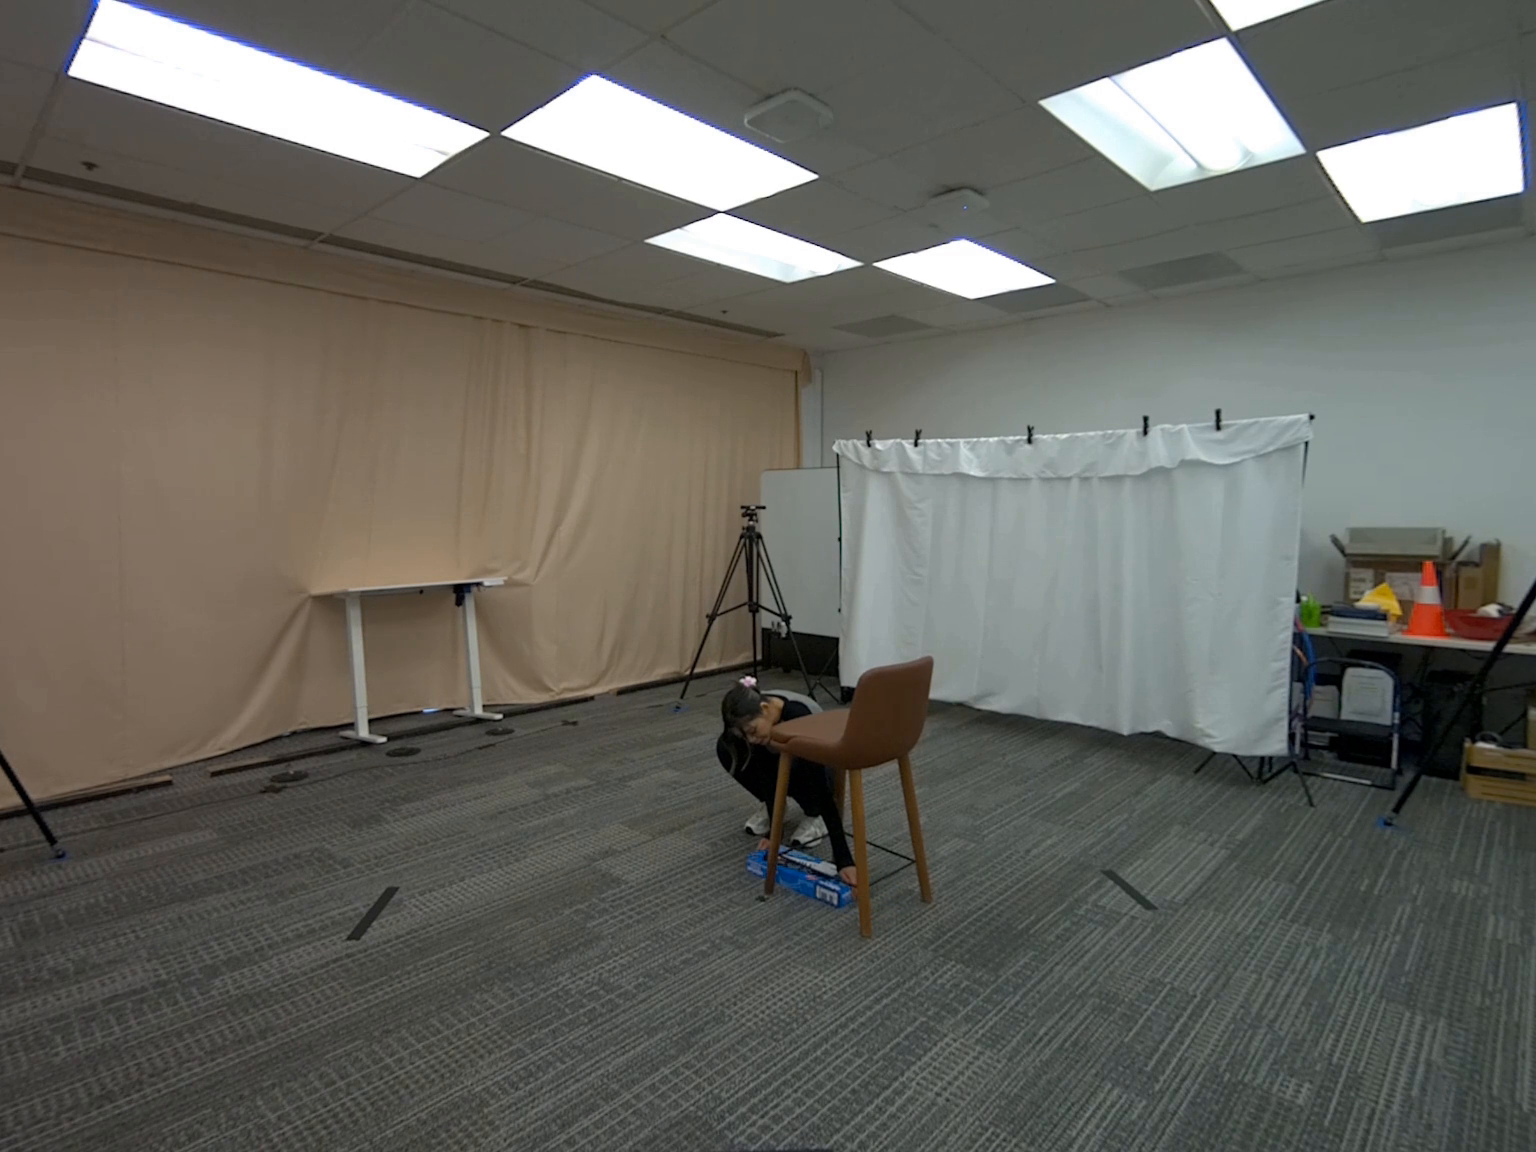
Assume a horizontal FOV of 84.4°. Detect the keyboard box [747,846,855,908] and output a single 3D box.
[{"bbox_3d":[0.146,1.094,3.120,0.451,0.059,0.171,5,7,43],"label":"keyboard box"}]
